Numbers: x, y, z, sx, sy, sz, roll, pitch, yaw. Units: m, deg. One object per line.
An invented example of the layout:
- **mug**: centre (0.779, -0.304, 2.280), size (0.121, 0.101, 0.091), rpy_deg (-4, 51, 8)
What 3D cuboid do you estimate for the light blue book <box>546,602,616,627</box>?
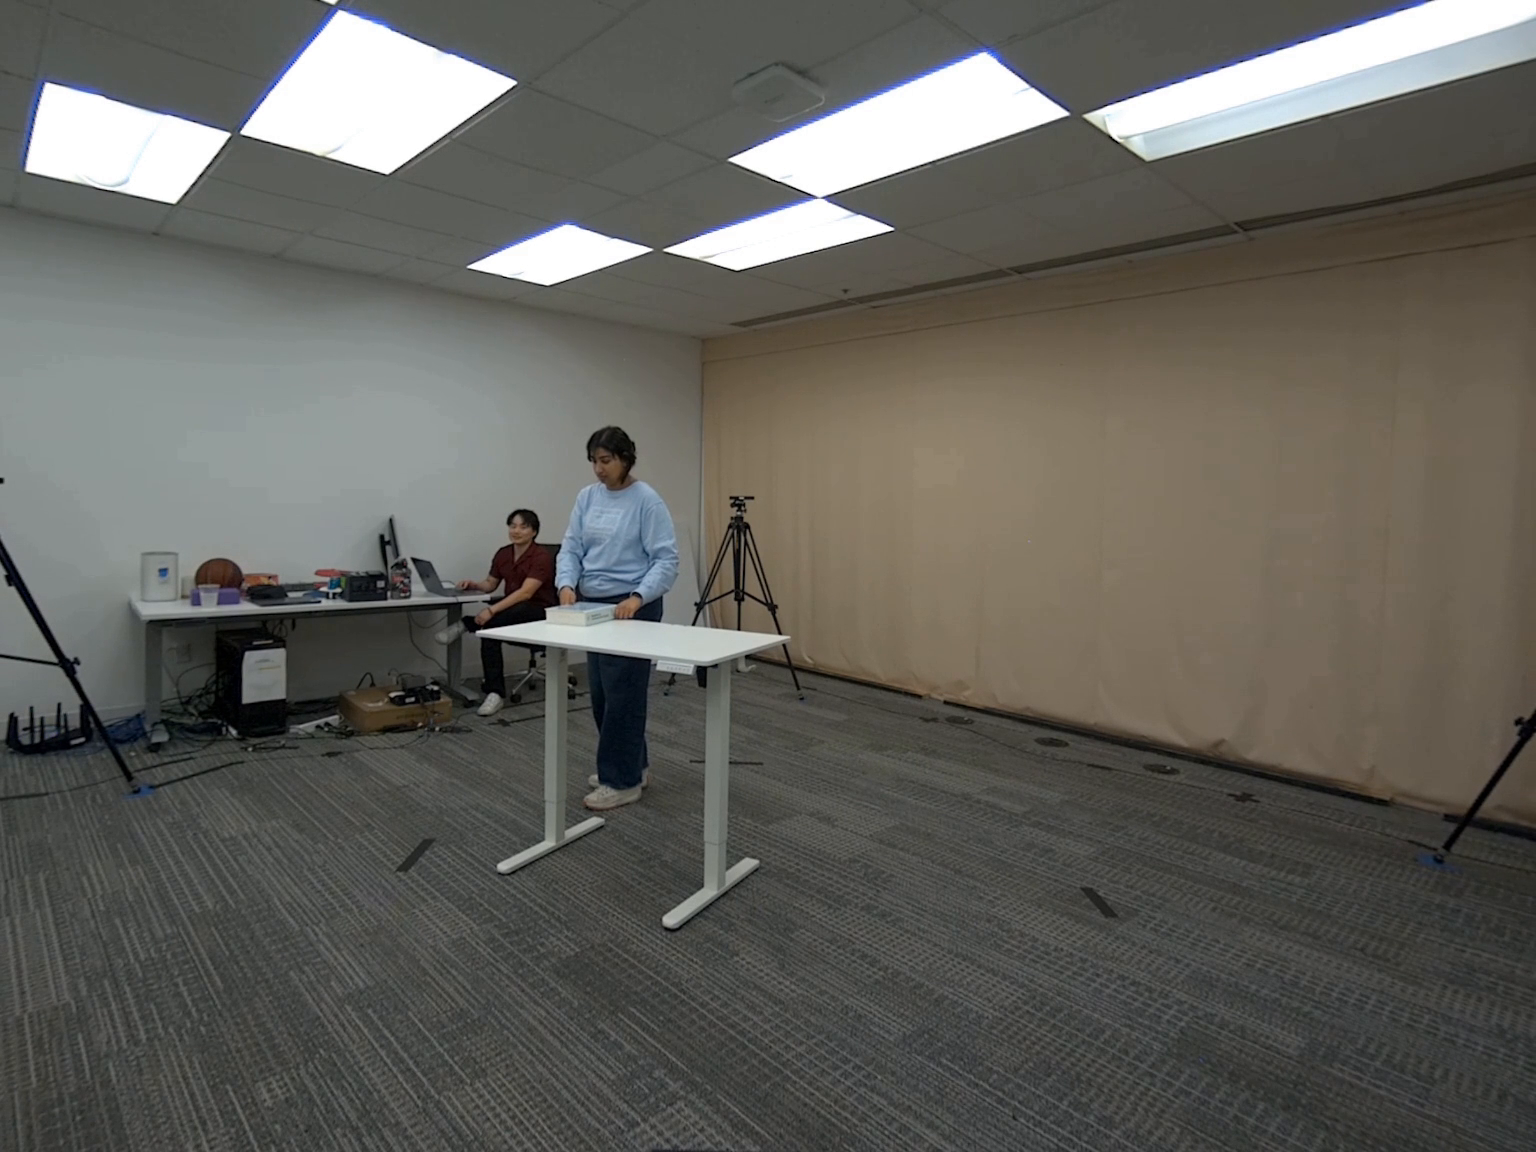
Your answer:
- **light blue book**: centre (-0.776, 0.154, 3.418), size (0.194, 0.059, 0.257), rpy_deg (4, 5, 20)
